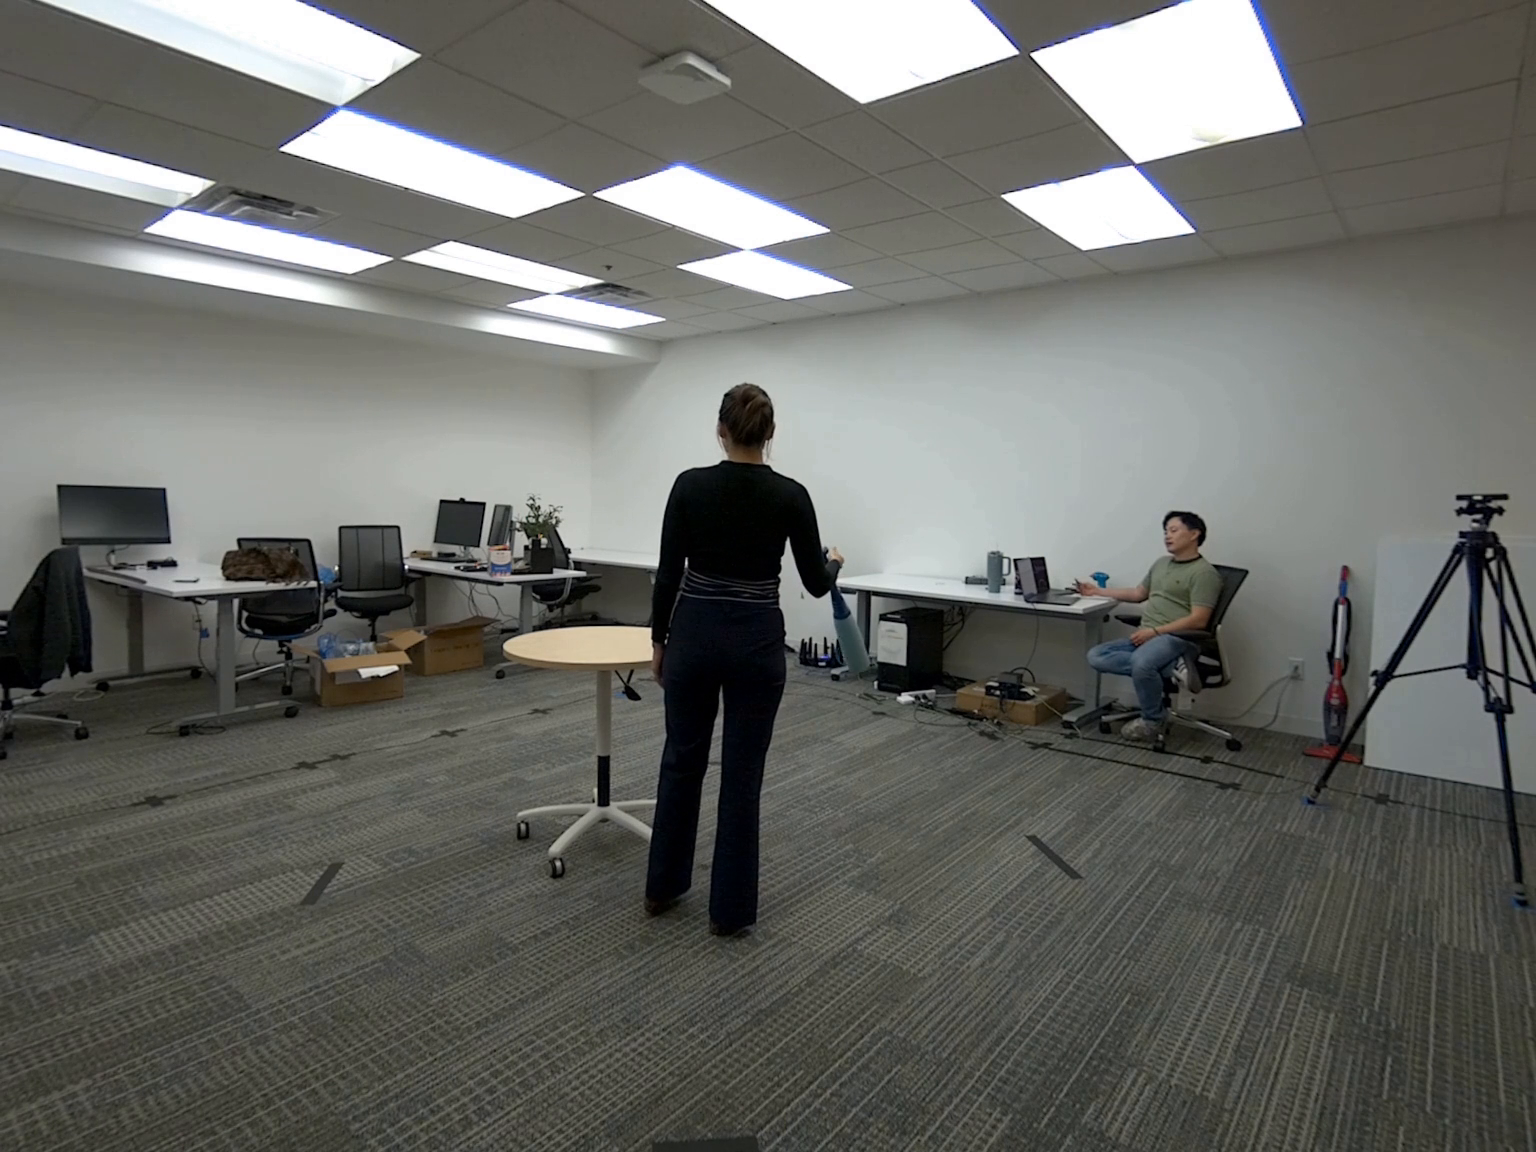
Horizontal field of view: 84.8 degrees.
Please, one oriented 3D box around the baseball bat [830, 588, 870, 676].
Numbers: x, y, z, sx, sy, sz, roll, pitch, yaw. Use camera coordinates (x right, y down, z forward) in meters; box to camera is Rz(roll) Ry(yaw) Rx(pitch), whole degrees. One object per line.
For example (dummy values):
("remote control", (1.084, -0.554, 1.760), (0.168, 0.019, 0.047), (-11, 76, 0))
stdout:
("baseball bat", (0.264, 0.119, 3.127), (0.089, 0.527, 0.091), (-18, 25, 7))
